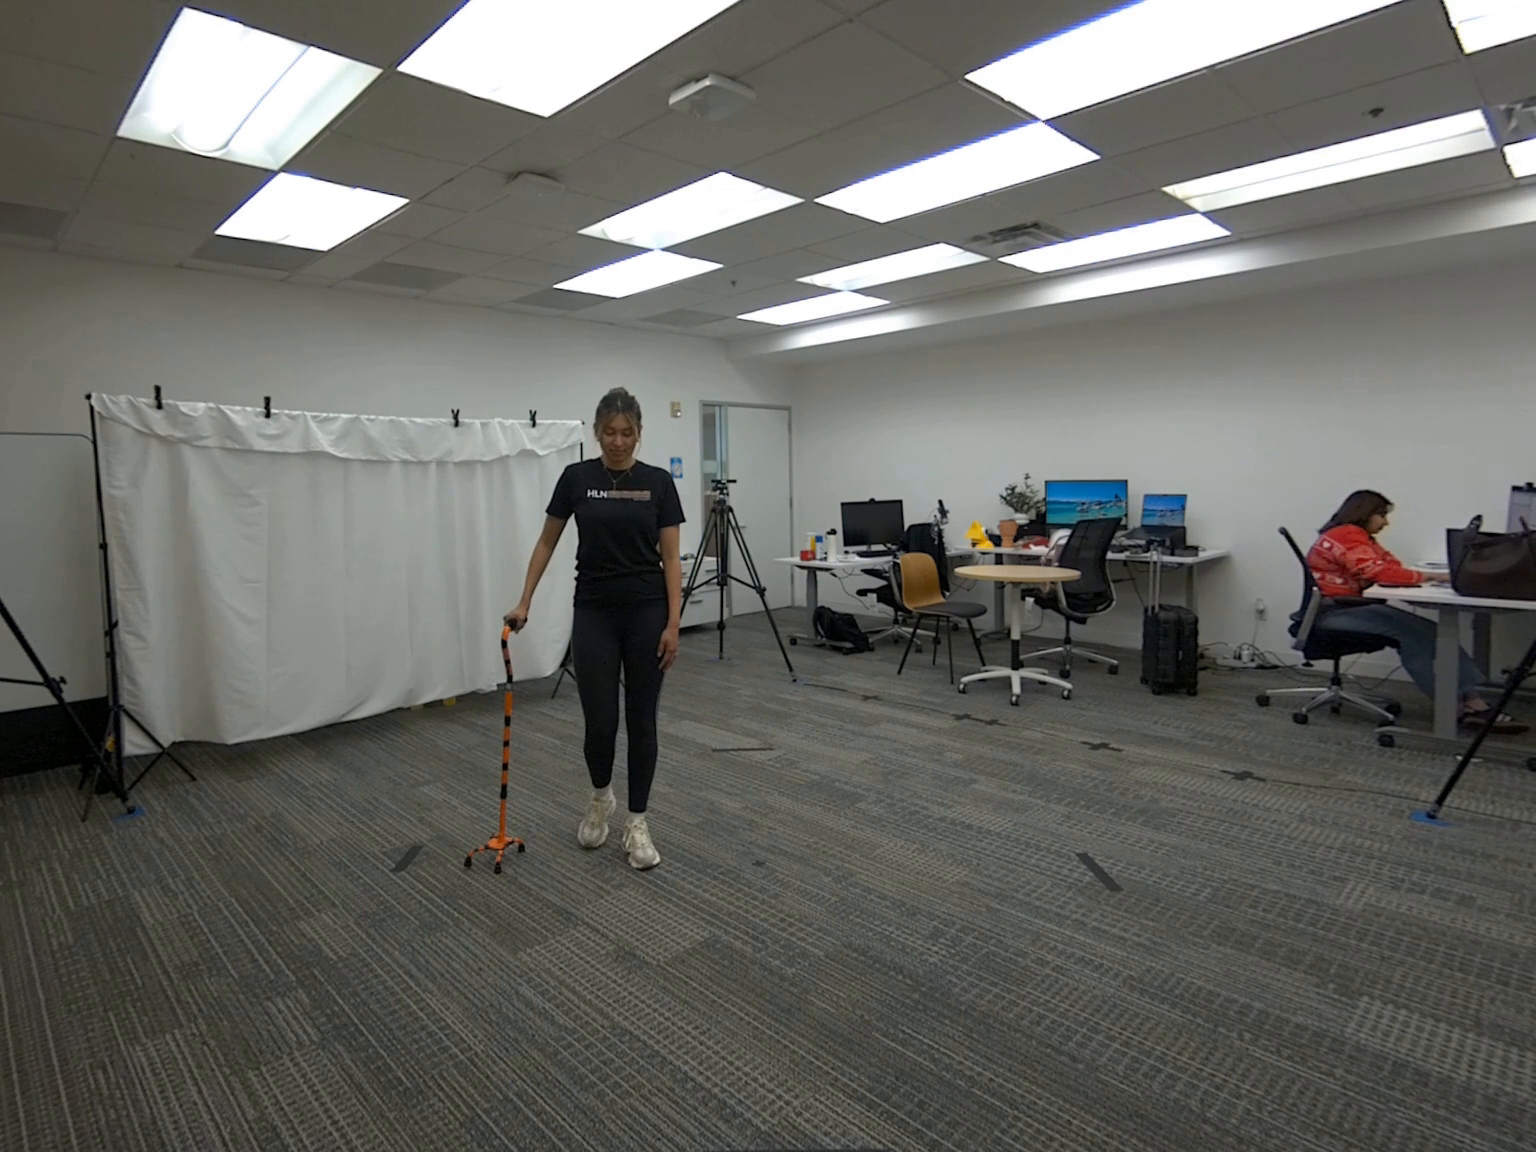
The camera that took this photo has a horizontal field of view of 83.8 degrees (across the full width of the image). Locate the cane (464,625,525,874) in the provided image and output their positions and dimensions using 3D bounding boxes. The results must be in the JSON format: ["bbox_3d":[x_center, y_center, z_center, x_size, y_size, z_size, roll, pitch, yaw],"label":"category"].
[{"bbox_3d":[-0.974,0.607,3.132,0.153,0.903,0.205,7,7,10],"label":"cane"}]
